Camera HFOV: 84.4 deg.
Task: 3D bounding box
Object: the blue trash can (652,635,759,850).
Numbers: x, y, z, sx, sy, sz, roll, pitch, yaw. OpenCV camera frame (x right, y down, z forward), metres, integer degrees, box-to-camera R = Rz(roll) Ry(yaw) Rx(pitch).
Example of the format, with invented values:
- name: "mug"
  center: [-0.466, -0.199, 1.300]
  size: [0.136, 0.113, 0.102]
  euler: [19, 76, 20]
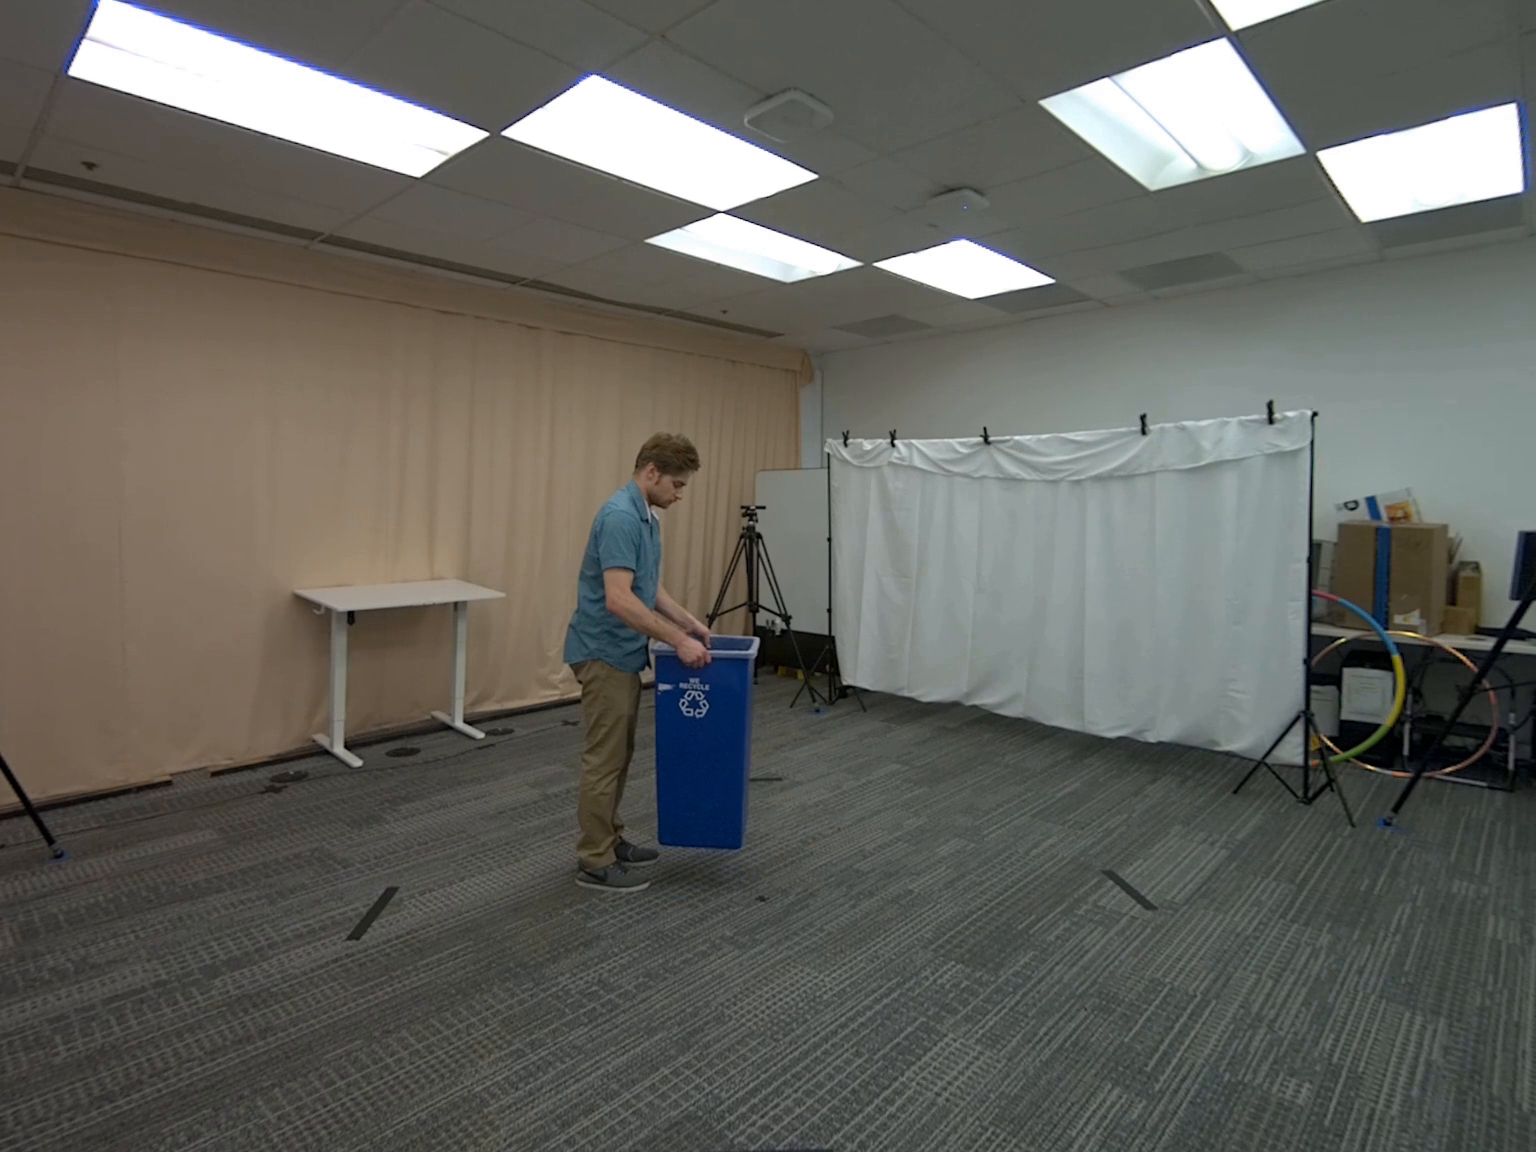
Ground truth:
- name: "blue trash can"
  center: [-0.221, 0.612, 3.117]
  size: [0.380, 0.712, 0.372]
  euler: [1, 3, 5]
